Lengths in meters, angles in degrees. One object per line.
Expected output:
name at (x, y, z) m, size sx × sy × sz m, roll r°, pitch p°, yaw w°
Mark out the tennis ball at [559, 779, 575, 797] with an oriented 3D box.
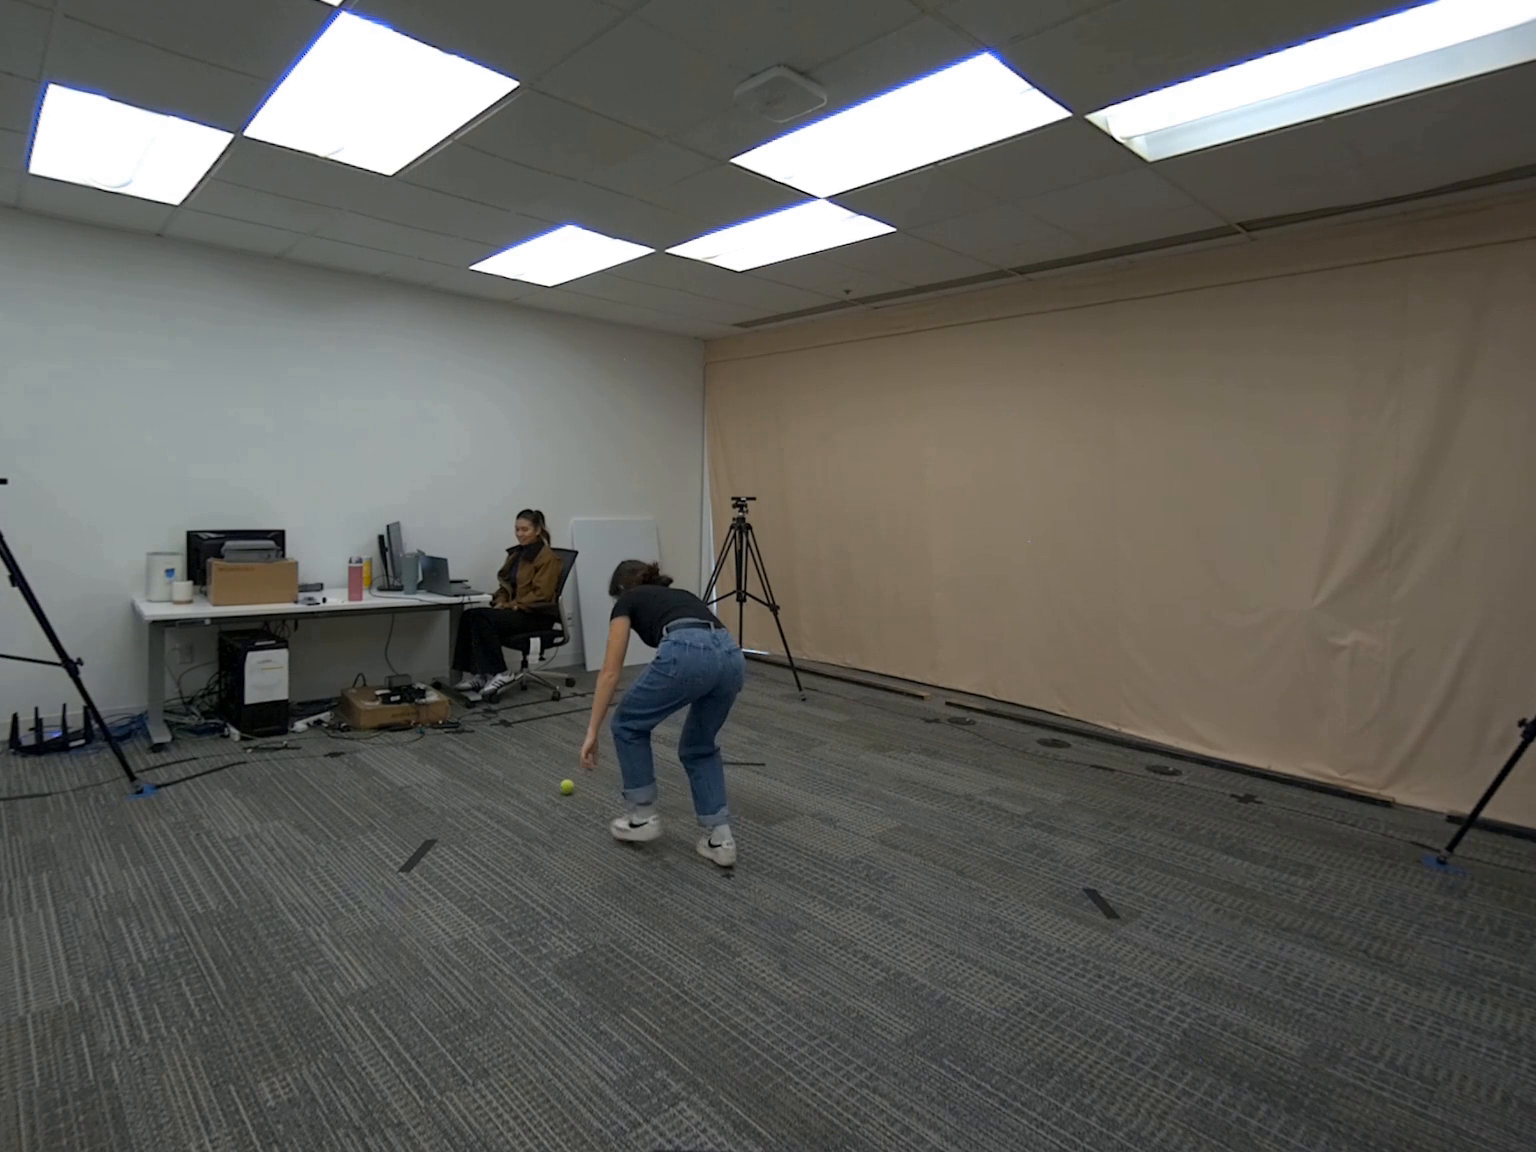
tennis ball at (-0.926, 0.978, 3.914) m, size 0.066 × 0.066 × 0.067 m, roll 1°, pitch 4°, yaw -1°
